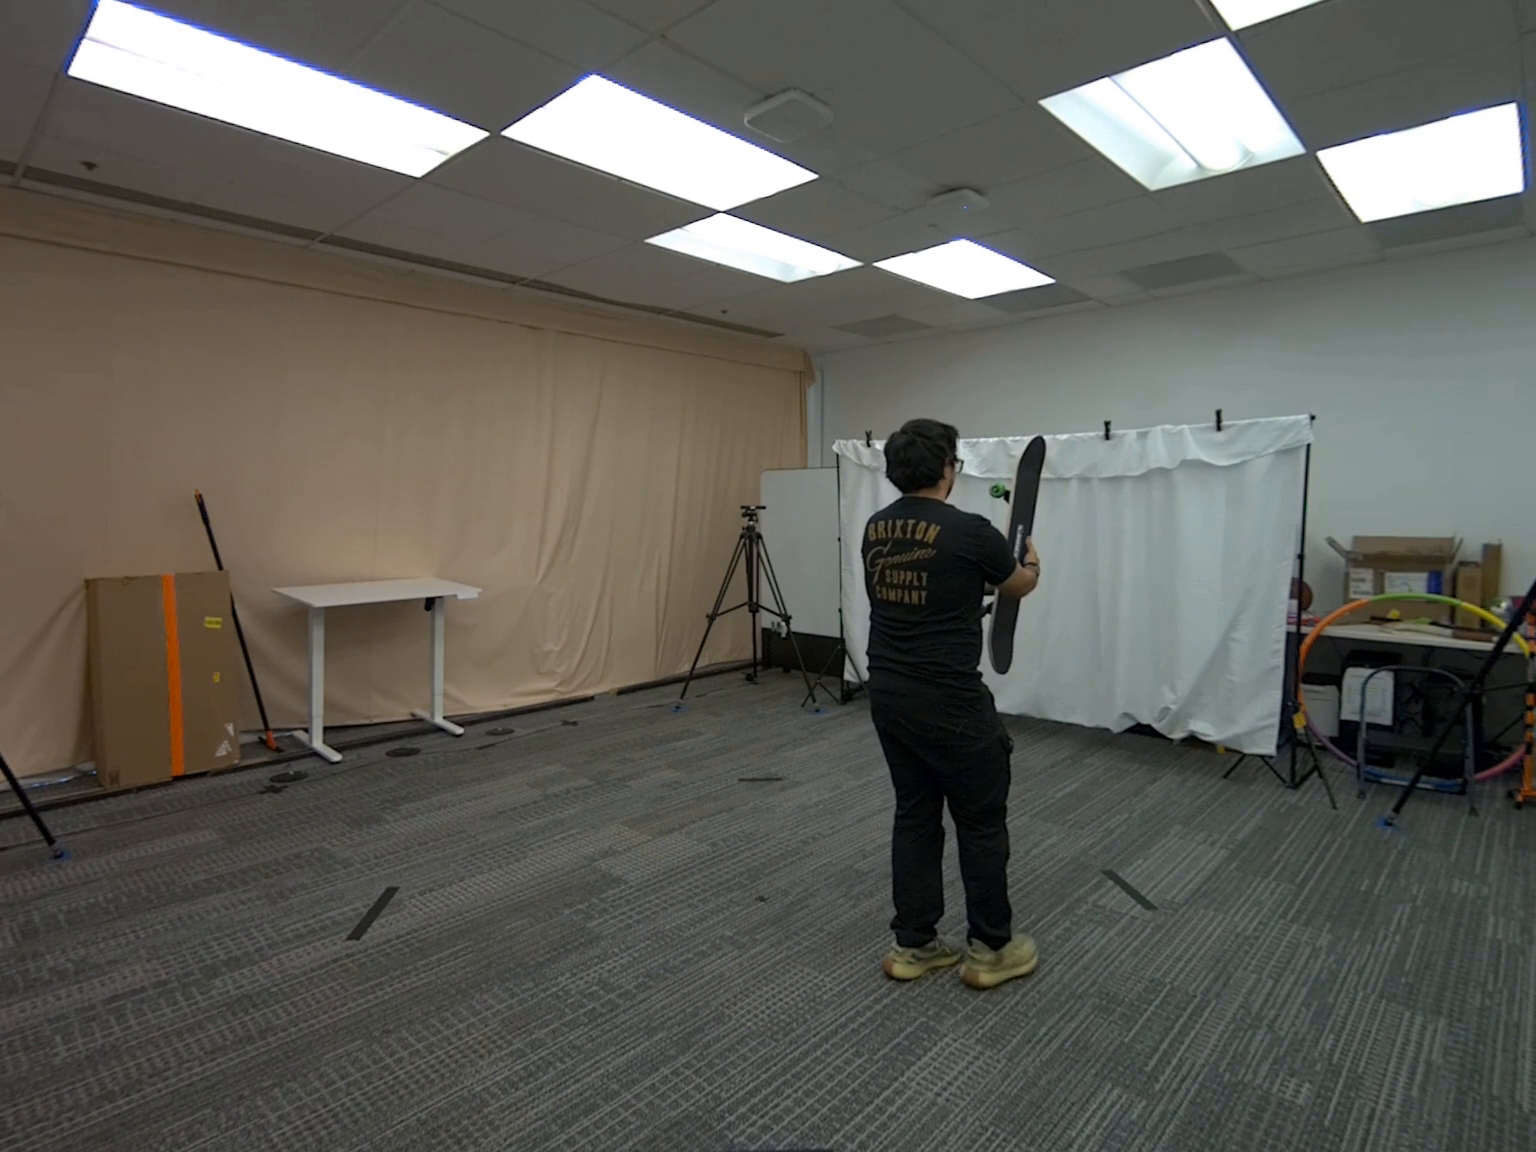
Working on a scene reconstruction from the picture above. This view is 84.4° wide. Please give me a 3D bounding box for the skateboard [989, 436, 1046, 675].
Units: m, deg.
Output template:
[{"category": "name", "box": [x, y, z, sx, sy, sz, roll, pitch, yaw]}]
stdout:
[{"category": "skateboard", "box": [0.789, -0.073, 2.783, 0.114, 0.785, 0.187, 9, 1, 39]}]
